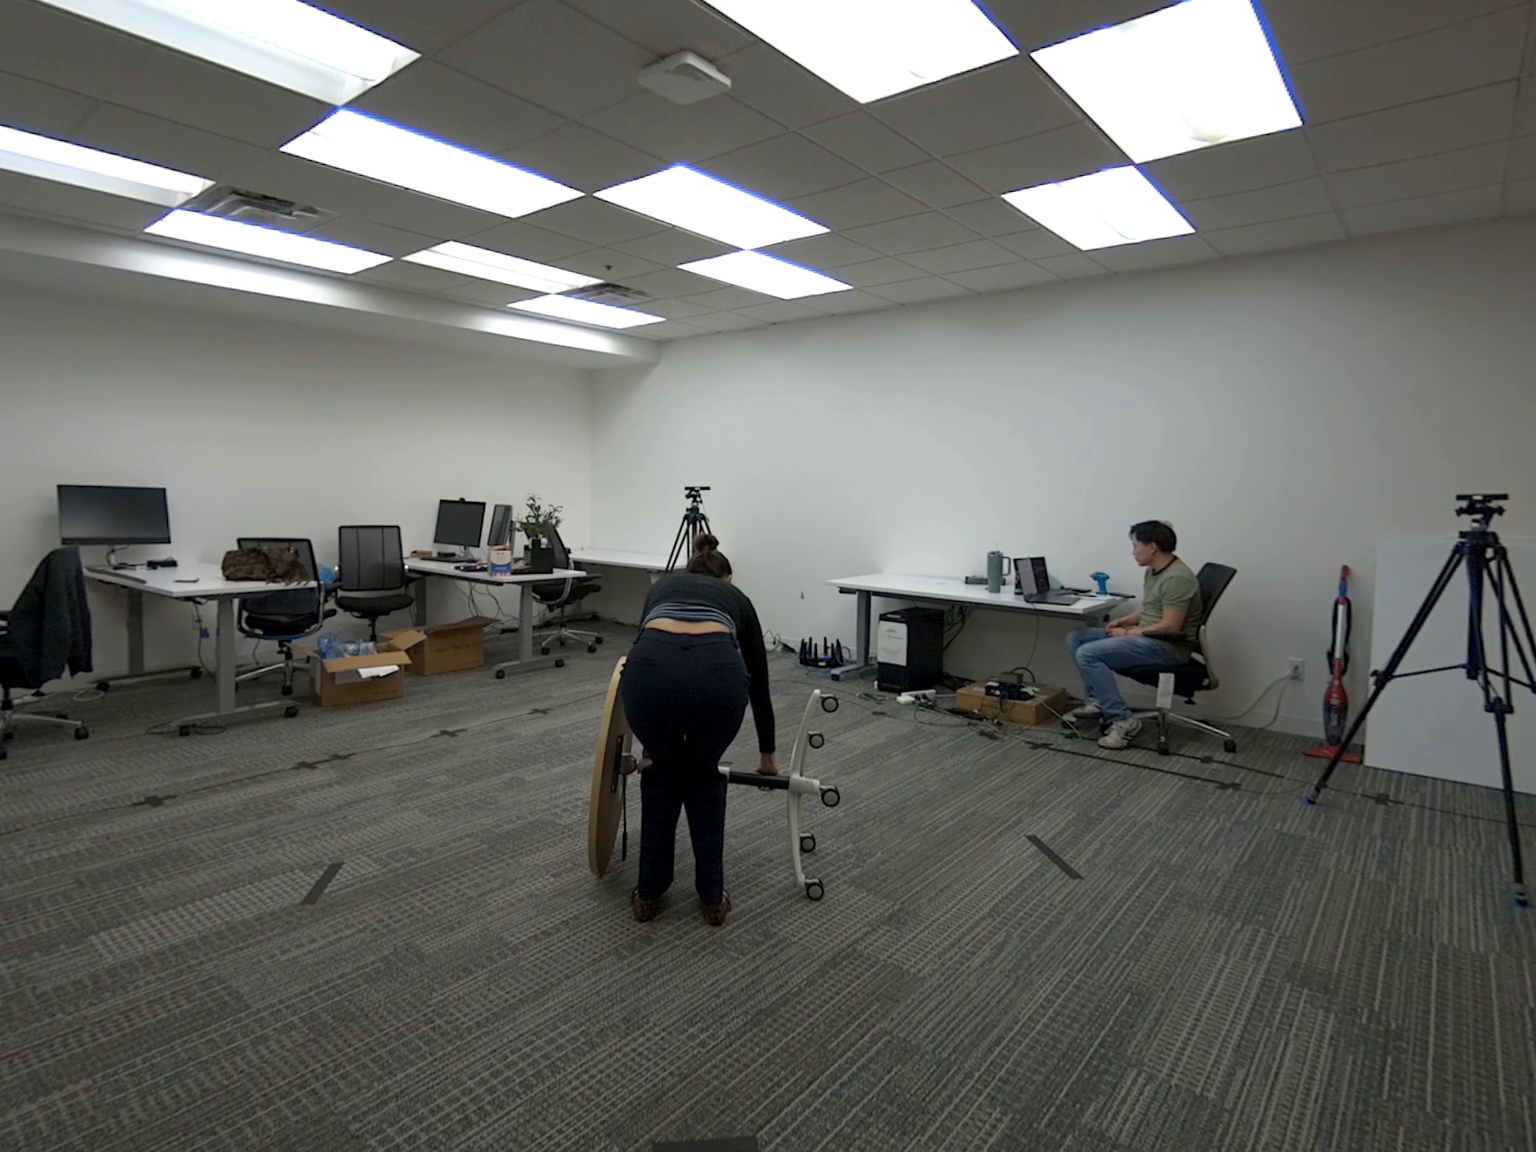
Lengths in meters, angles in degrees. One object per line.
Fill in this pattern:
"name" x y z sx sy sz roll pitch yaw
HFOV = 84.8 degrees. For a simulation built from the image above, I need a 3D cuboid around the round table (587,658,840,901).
"round table" -0.187 0.731 3.089 0.795 0.762 0.766 7 4 0
